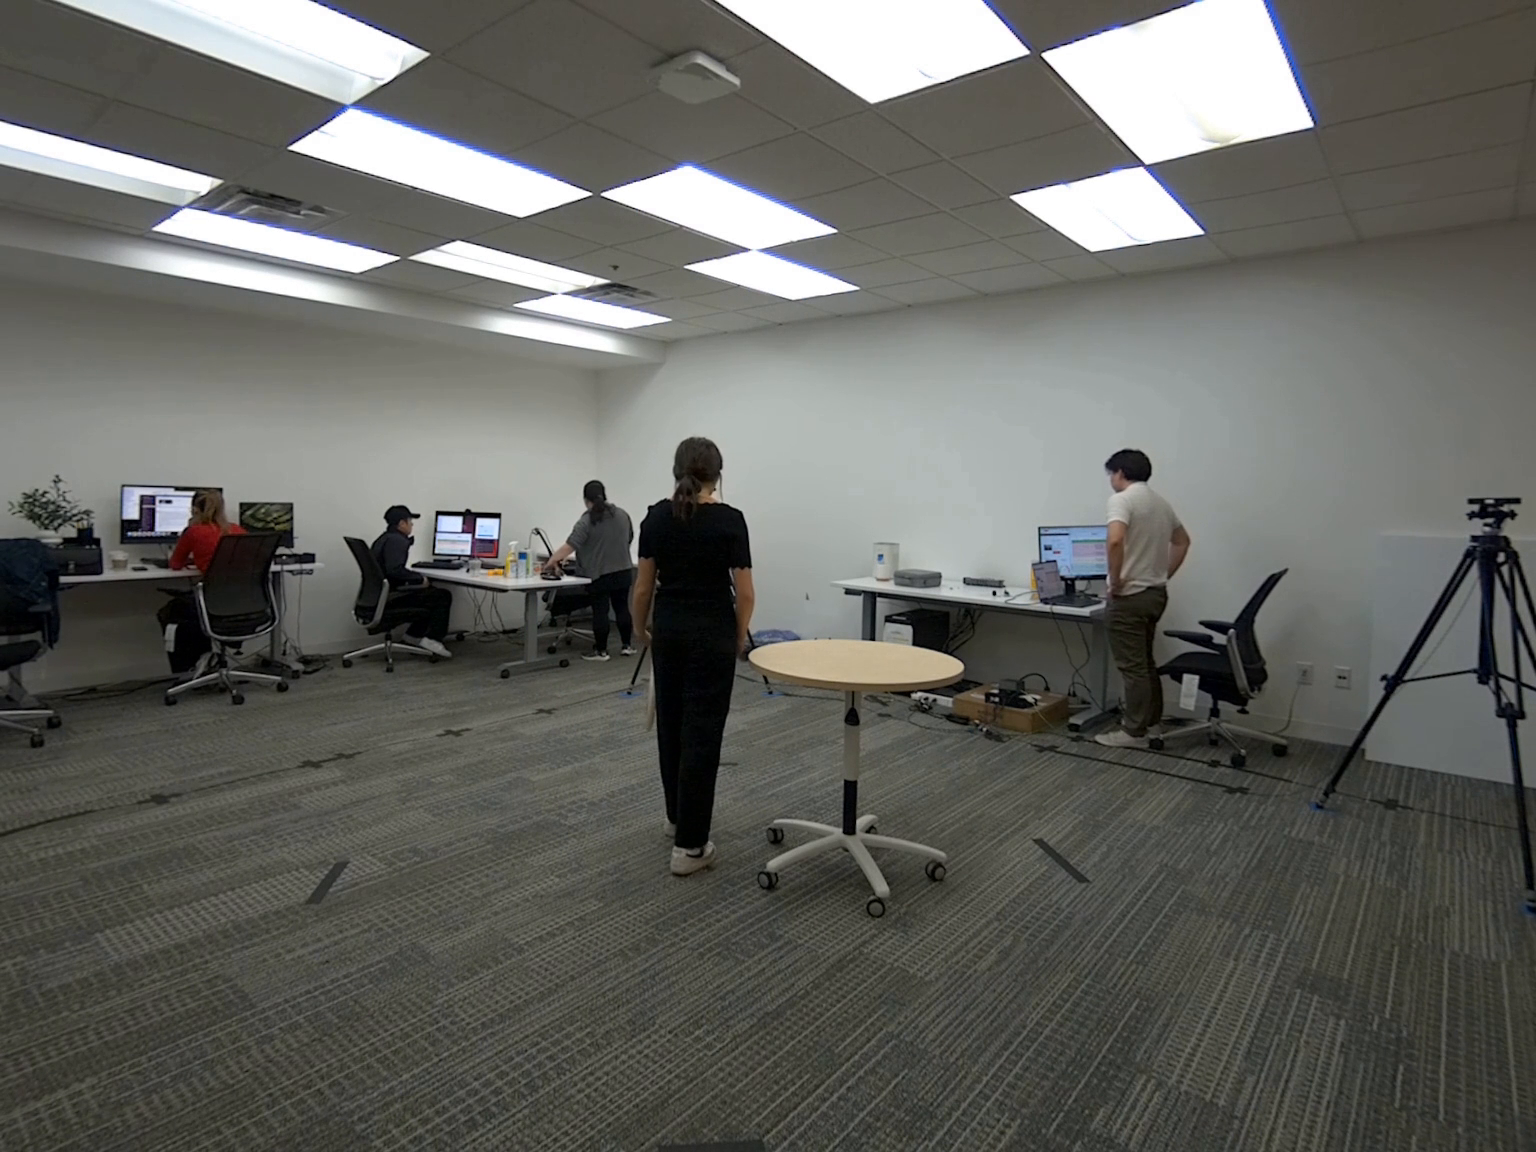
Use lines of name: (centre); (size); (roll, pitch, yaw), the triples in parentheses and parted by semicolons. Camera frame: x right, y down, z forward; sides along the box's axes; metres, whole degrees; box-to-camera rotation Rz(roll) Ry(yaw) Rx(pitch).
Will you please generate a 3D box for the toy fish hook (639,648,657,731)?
toy fish hook: (-0.481, 0.382, 3.537); (0.048, 0.512, 0.224); (7, -13, -10)
